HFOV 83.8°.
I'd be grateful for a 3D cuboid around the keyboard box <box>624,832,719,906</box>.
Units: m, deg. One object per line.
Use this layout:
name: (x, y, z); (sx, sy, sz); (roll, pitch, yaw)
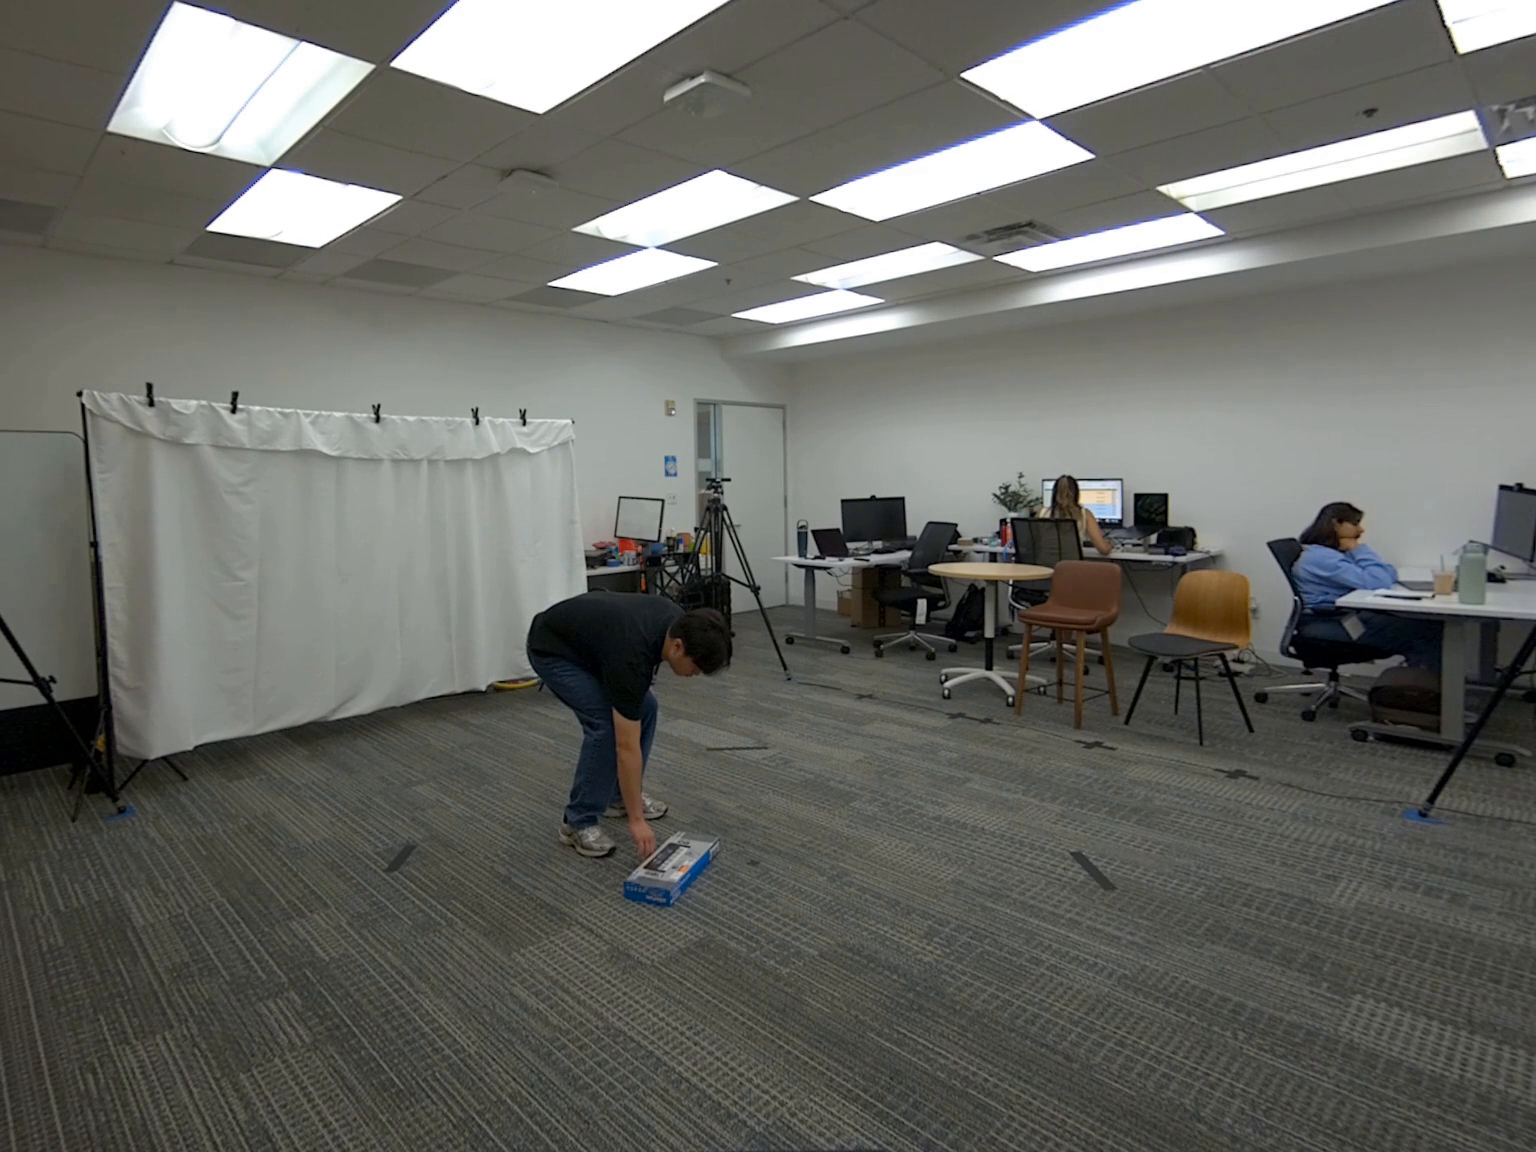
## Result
keyboard box: (-0.327, 1.026, 3.023); (0.179, 0.059, 0.430); (2, 8, 20)
